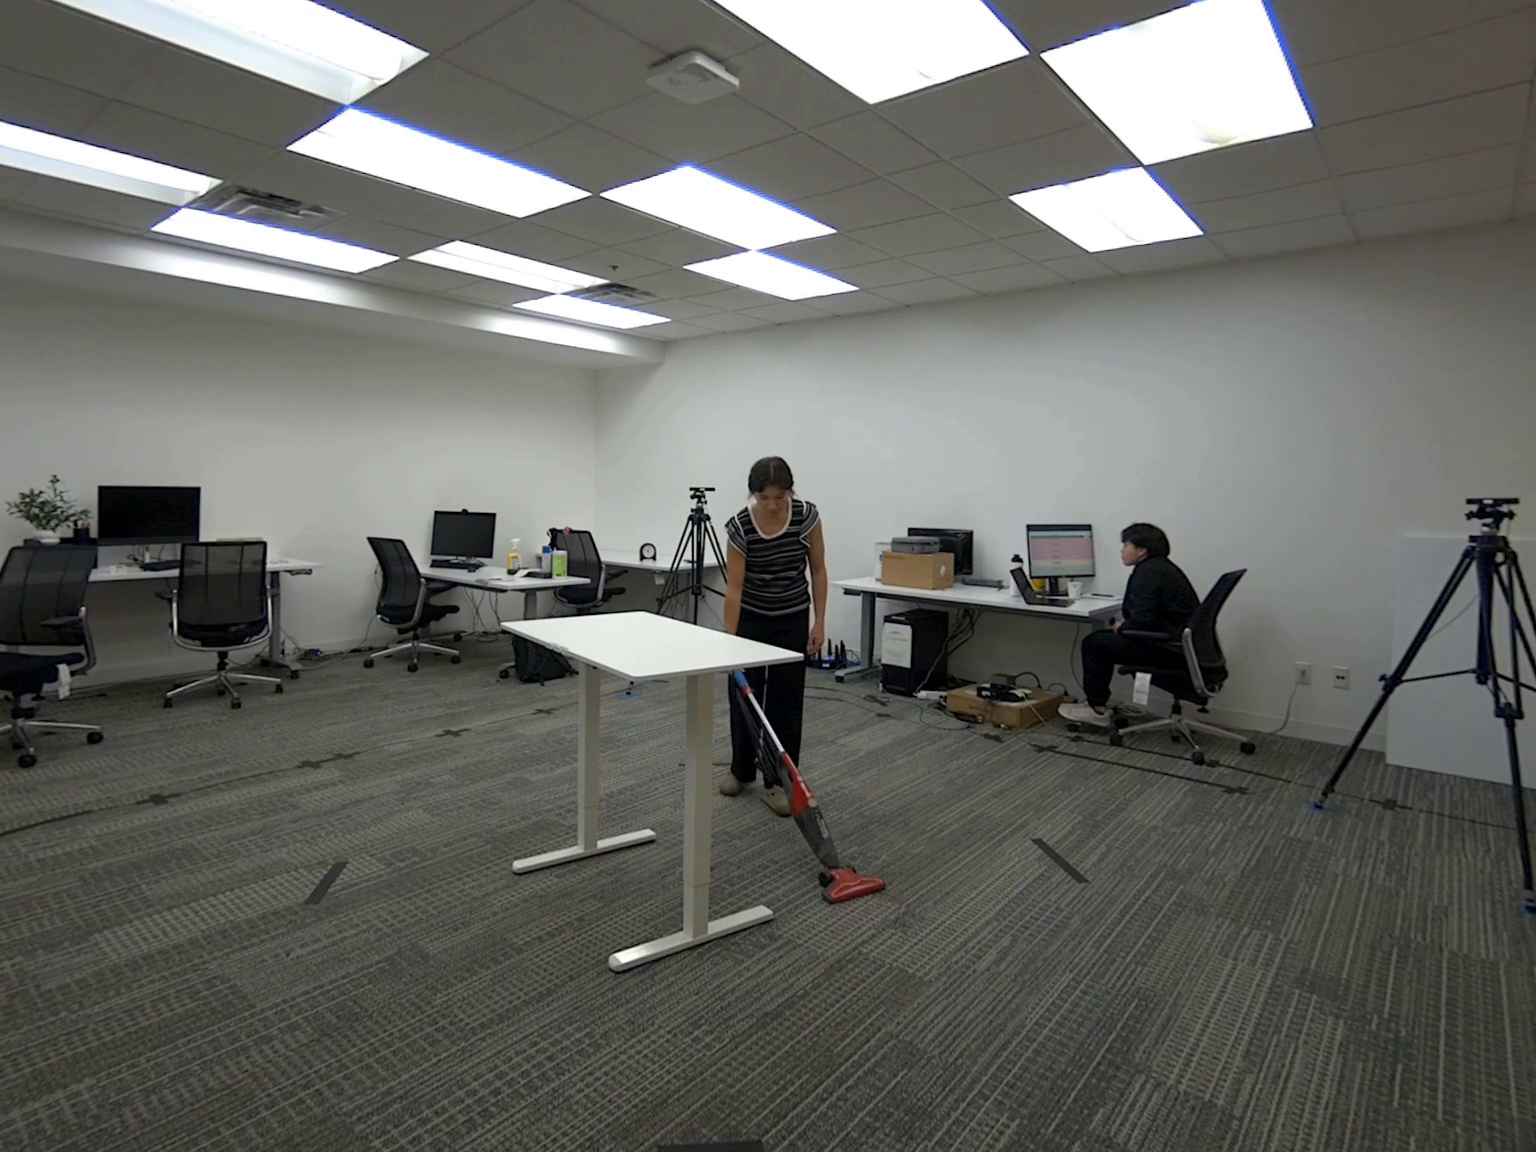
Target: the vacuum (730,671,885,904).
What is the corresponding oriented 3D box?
[{"bbox_3d":[0.054,0.734,3.312,0.245,0.142,1.094,4,36,-35],"label":"vacuum"}]
